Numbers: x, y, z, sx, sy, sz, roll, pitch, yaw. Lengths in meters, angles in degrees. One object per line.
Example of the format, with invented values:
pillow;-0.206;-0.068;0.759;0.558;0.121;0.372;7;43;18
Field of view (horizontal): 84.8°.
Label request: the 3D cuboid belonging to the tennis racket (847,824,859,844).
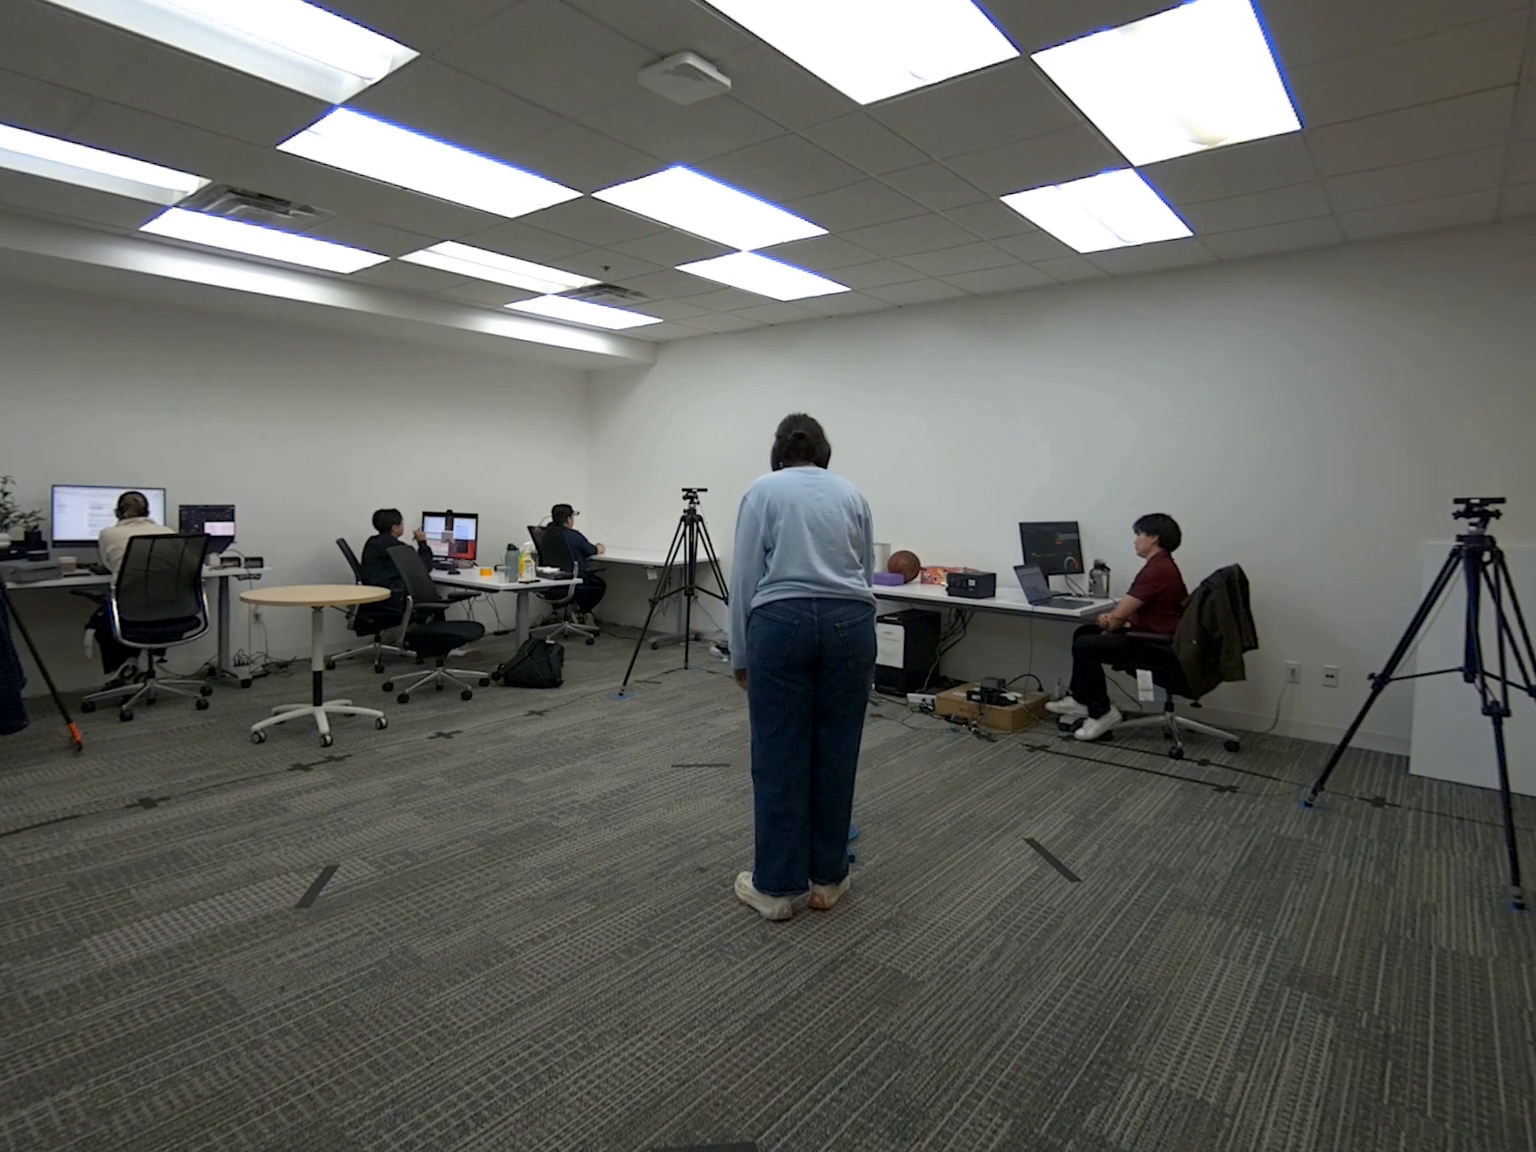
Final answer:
tennis racket;0.264;1.032;3.401;0.211;0.031;0.439;0;5;-12
